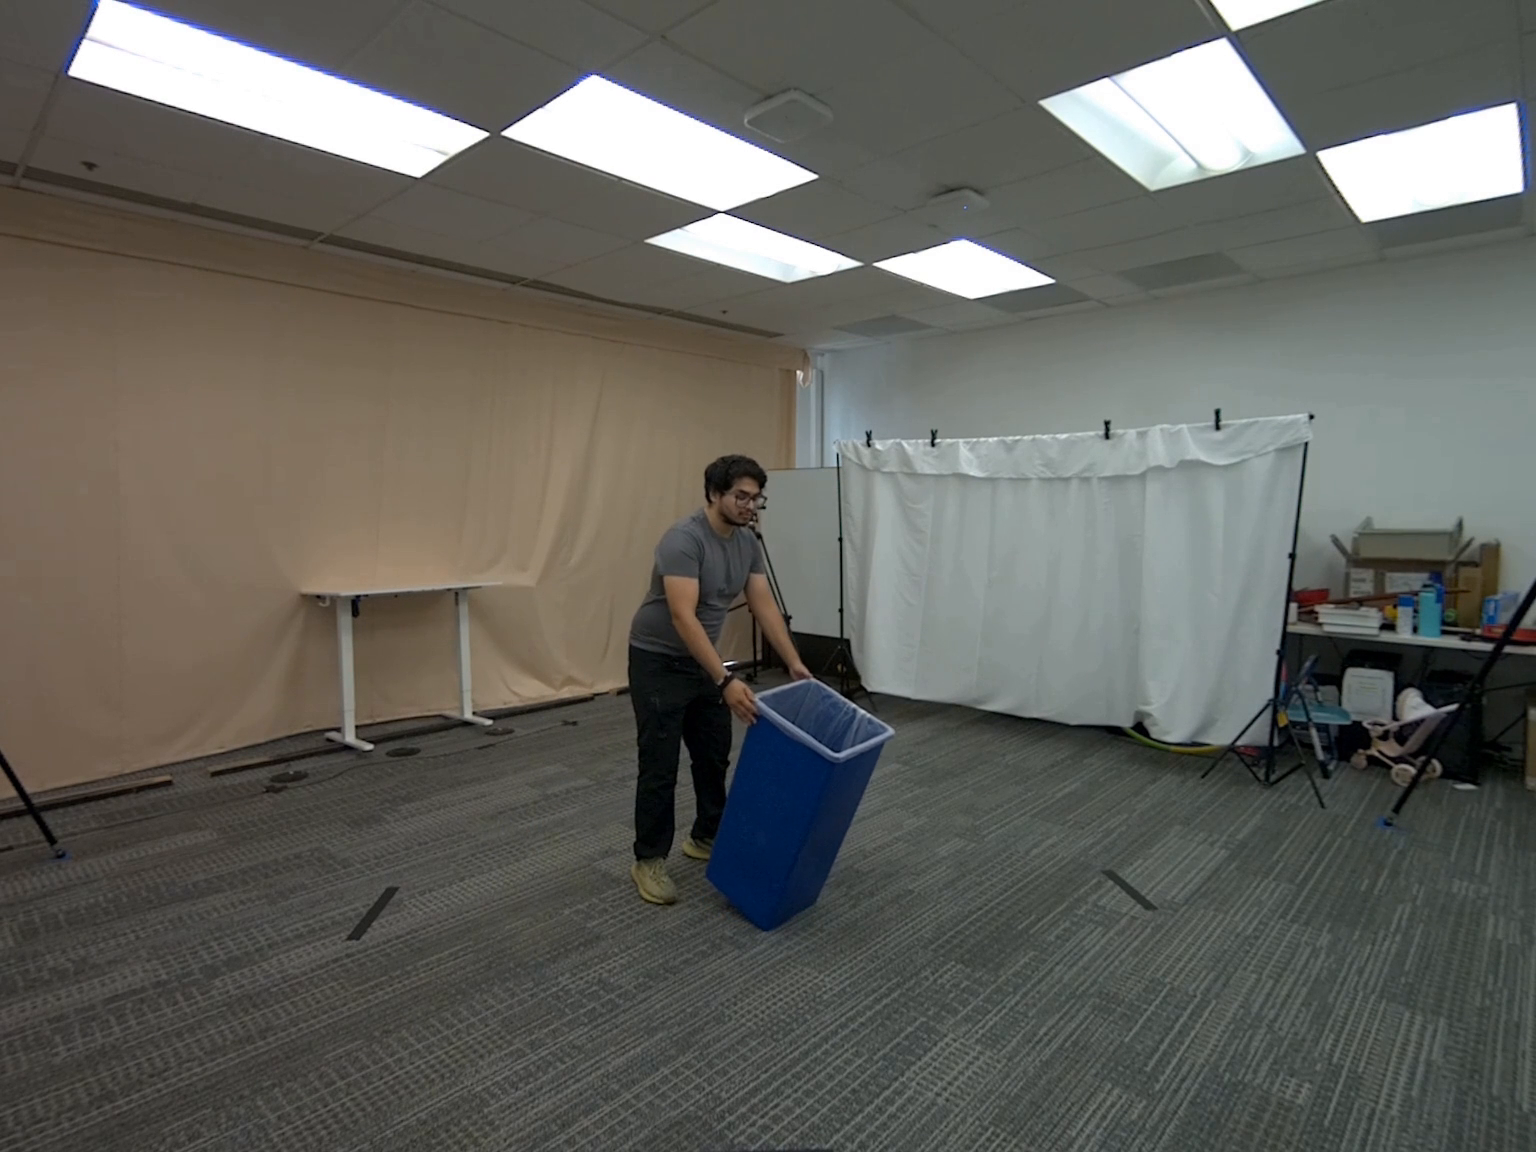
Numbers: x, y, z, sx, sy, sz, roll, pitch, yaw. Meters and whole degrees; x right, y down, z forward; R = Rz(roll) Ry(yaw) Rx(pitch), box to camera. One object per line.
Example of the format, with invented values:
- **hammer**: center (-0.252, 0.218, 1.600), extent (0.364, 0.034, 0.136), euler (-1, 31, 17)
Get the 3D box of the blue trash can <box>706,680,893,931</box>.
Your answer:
- **blue trash can**: center (0.084, 0.771, 2.829), extent (0.391, 0.710, 0.363), euler (29, 20, 34)
